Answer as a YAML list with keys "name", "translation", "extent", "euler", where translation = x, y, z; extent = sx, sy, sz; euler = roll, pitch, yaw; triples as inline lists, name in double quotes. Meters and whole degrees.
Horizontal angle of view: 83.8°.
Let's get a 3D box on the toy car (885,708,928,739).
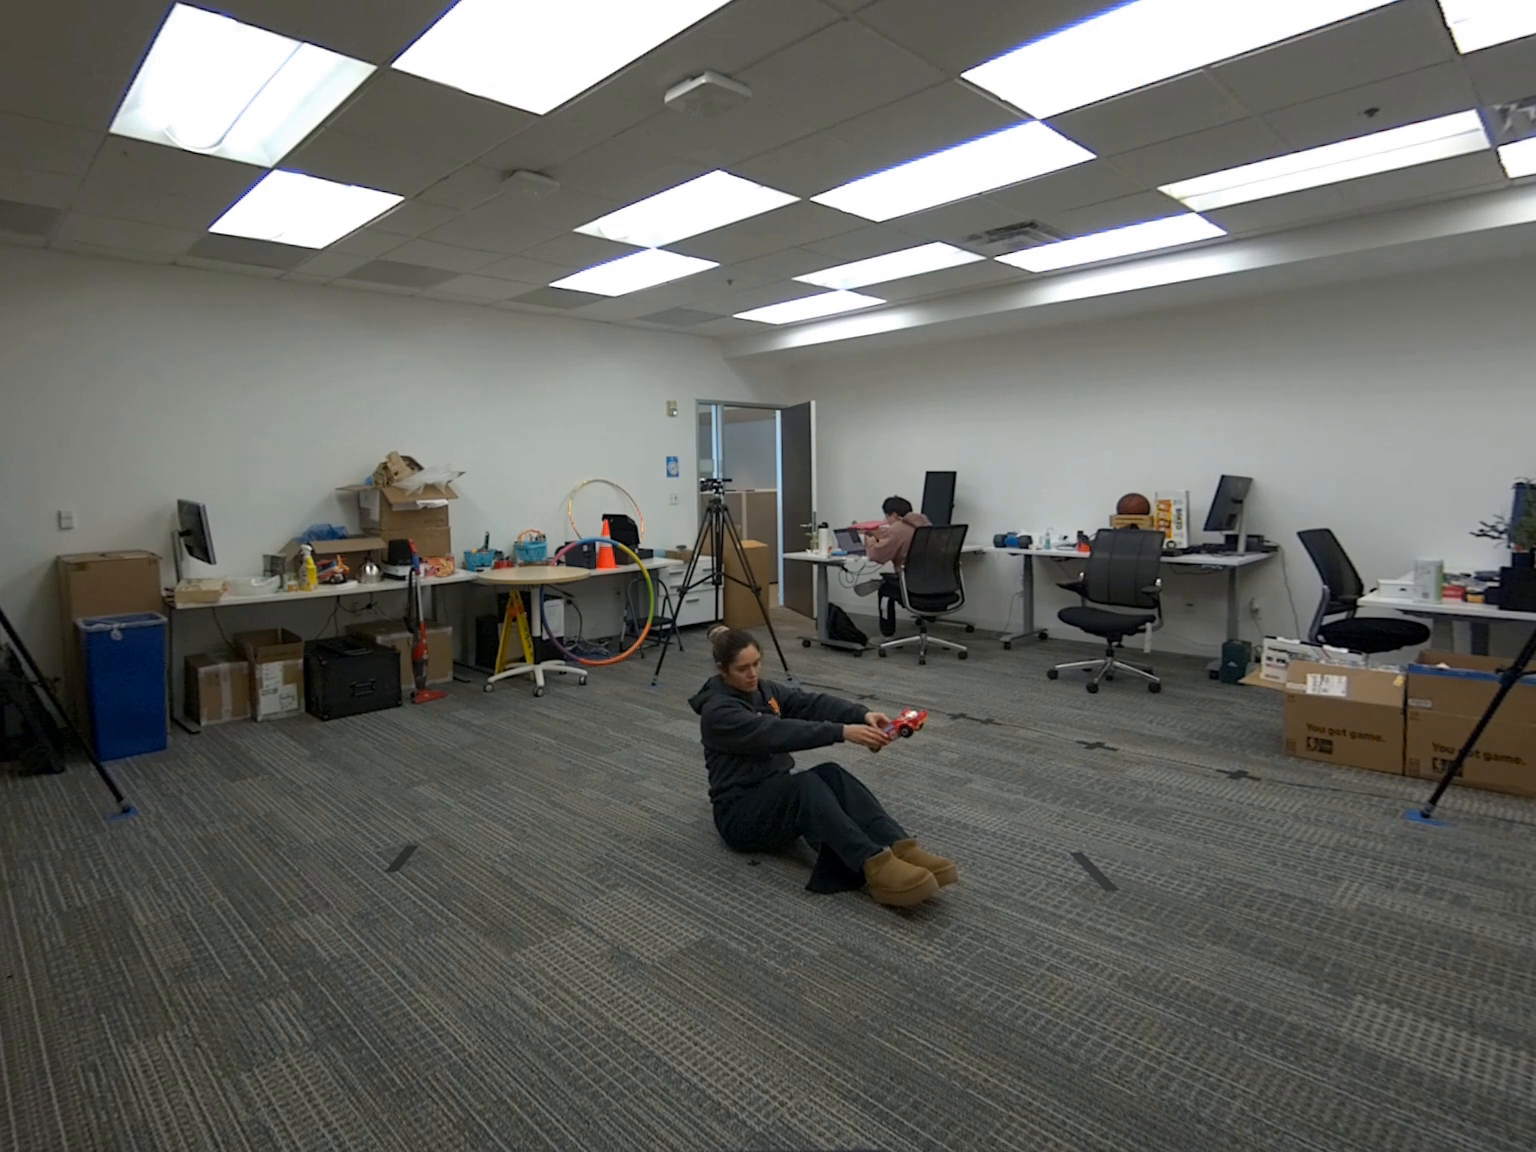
- name: "toy car"
  translation: [0.467, 0.557, 3.046]
  extent: [0.127, 0.085, 0.254]
  euler: [-13, -31, -53]
